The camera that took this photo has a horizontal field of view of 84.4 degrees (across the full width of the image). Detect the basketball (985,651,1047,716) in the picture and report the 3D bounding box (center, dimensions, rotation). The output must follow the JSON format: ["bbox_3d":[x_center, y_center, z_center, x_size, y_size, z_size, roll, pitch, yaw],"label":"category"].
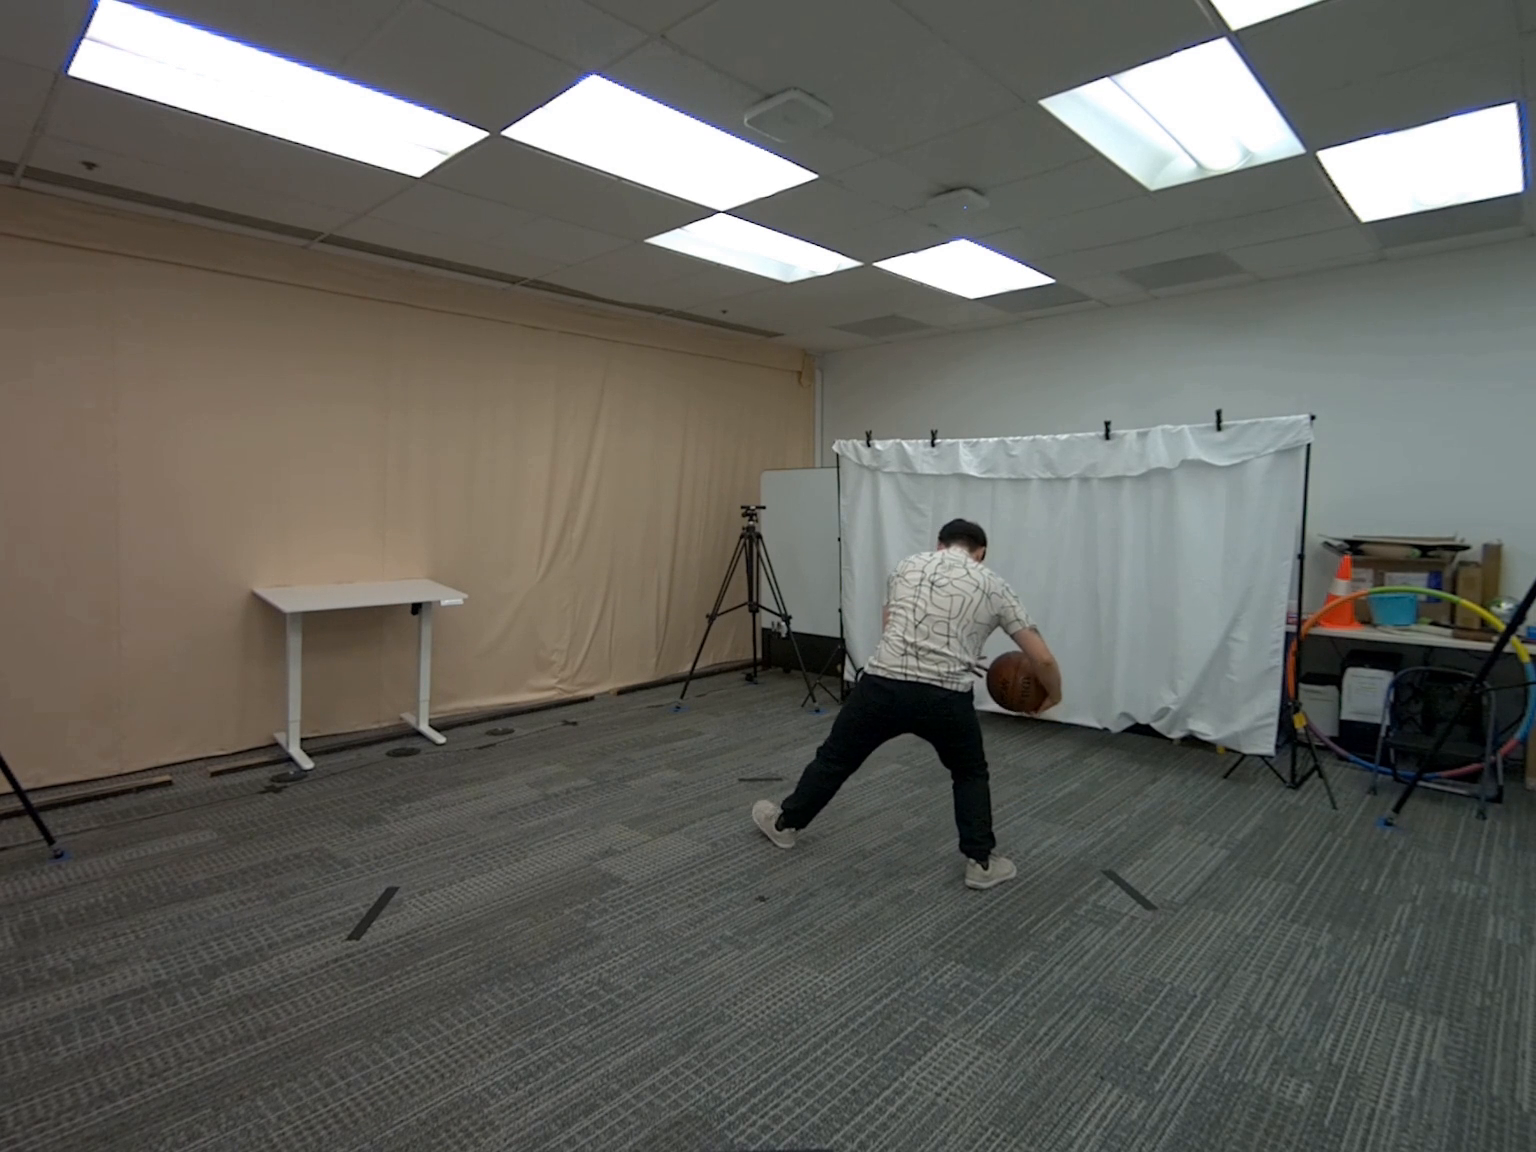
[{"bbox_3d":[0.972,0.421,3.303,0.236,0.235,0.237,0,4,-2],"label":"basketball"}]
